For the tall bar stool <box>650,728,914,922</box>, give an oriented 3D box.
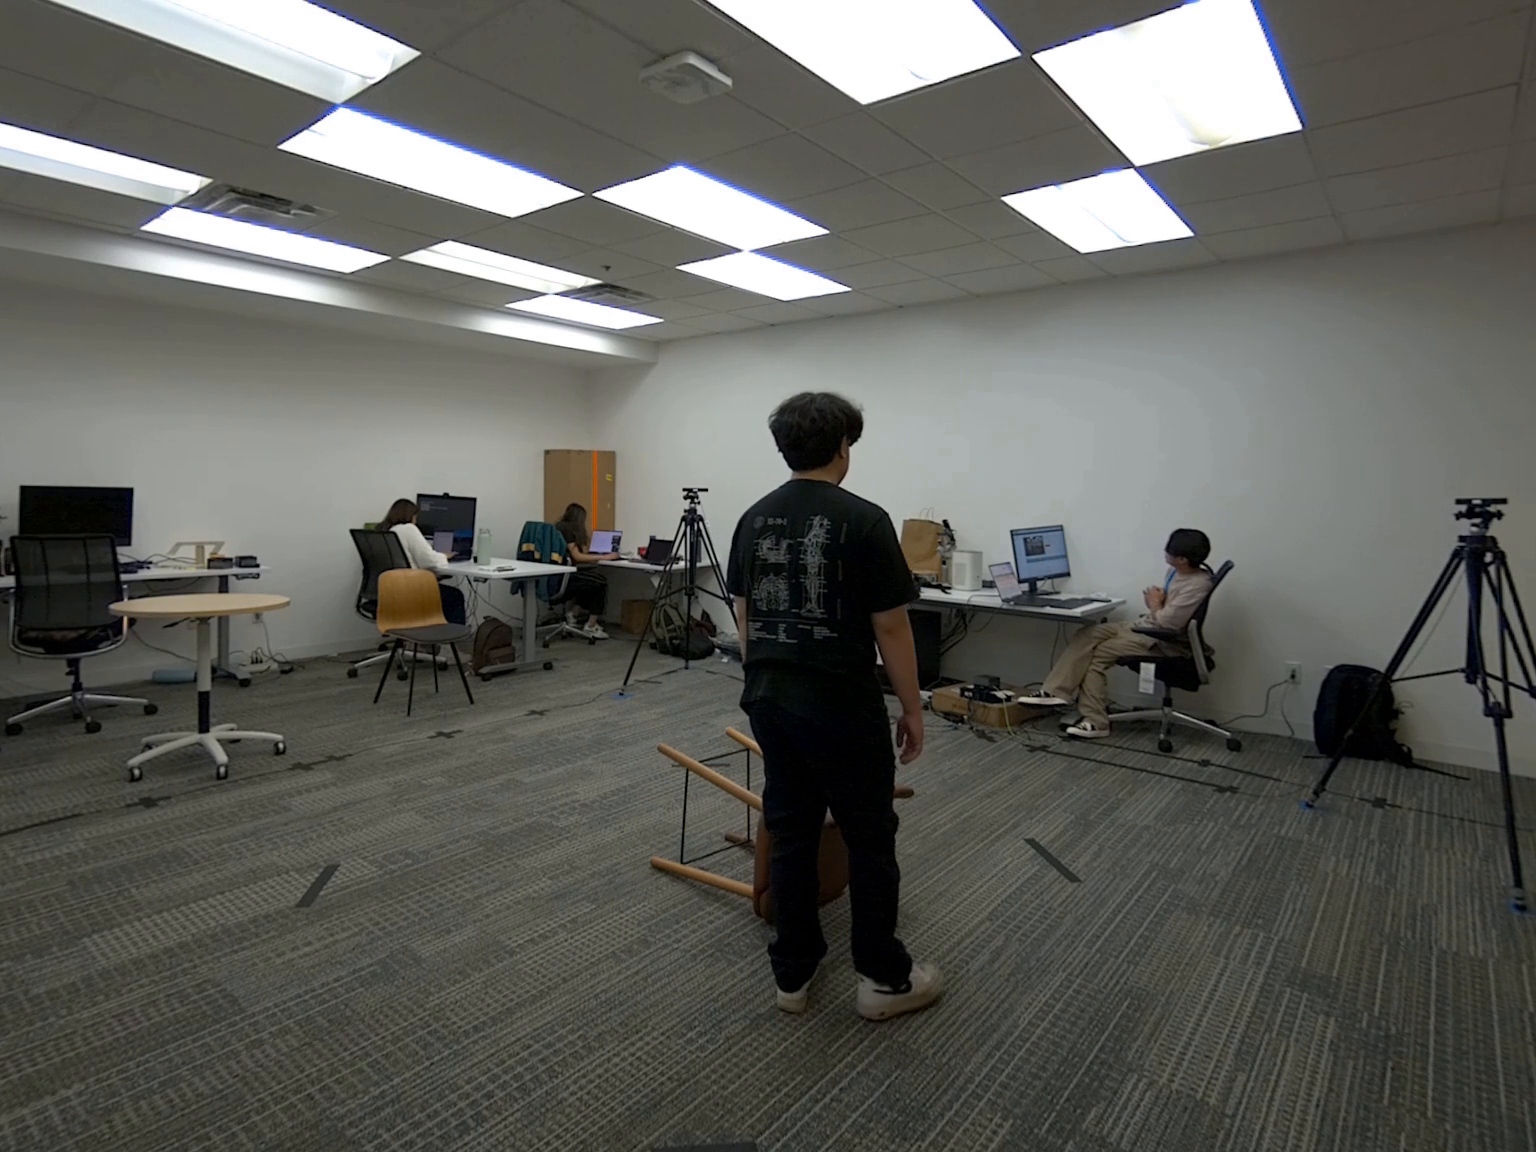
[{"bbox_3d":[0.021,0.860,2.926,0.920,0.466,0.442,5,5,45],"label":"tall bar stool"}]
